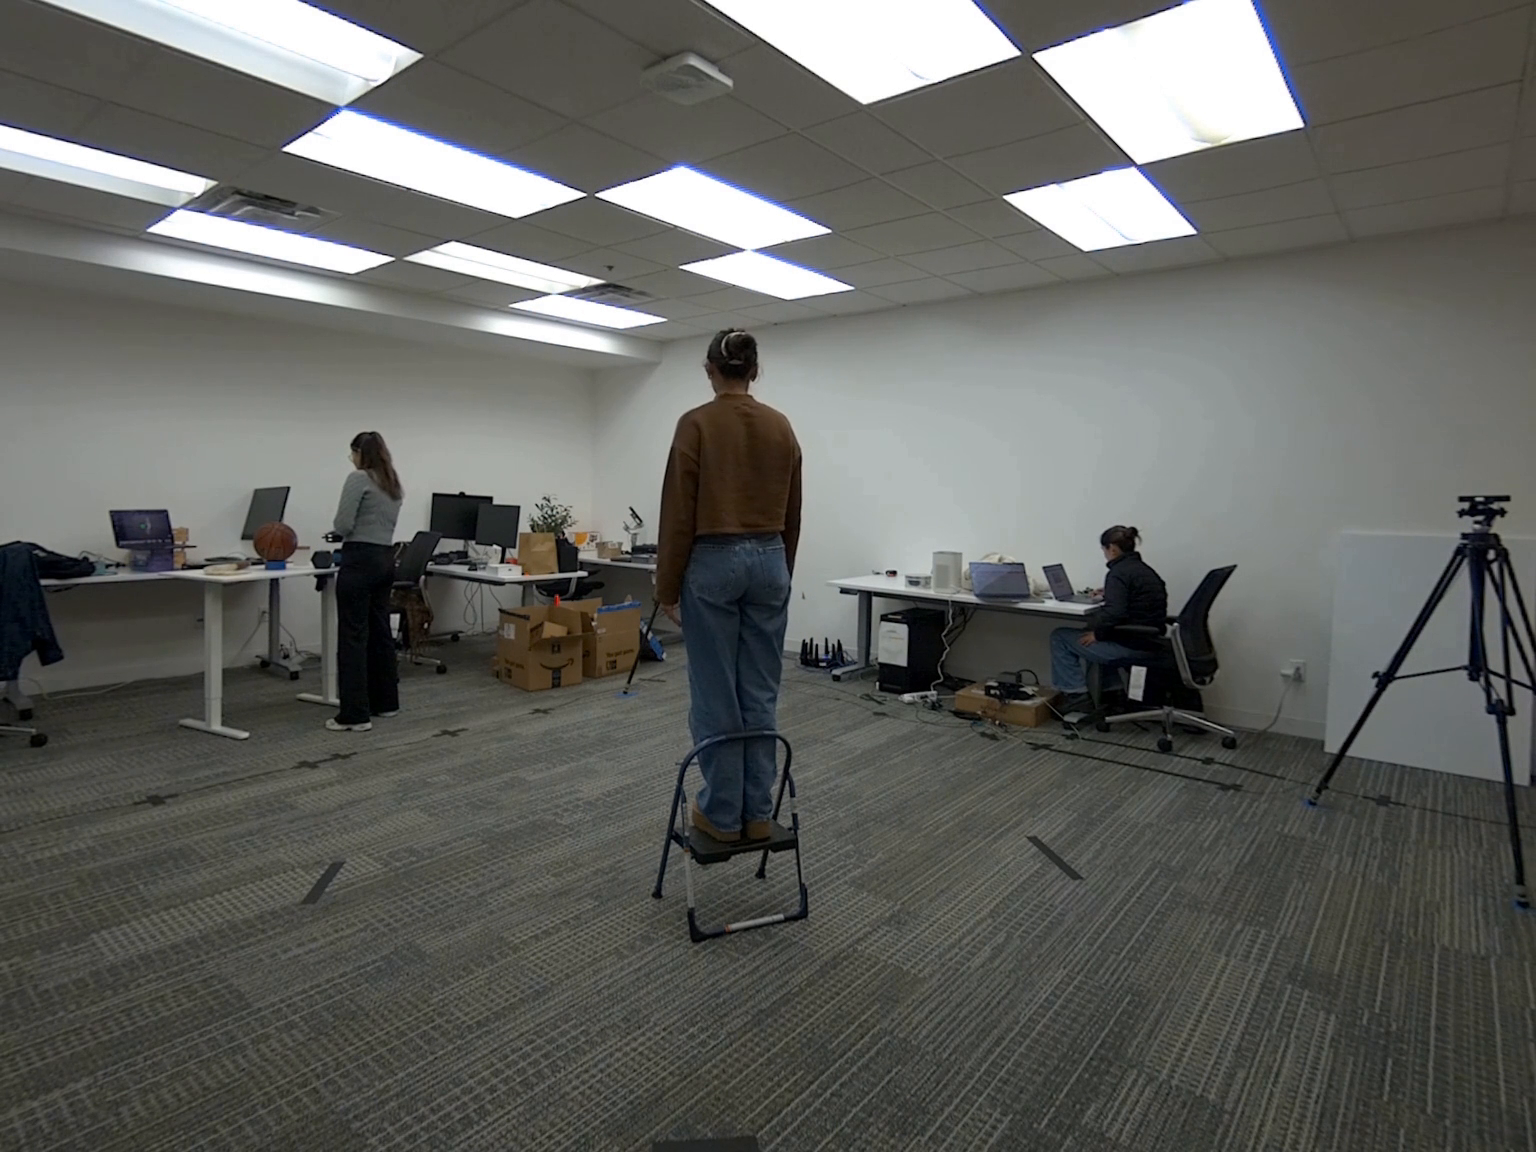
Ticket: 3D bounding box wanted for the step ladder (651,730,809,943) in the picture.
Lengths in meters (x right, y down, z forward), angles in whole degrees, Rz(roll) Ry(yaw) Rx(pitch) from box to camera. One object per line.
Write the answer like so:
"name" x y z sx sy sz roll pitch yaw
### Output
"step ladder" -0.130 0.798 2.812 0.420 0.604 0.359 -1 4 -27
